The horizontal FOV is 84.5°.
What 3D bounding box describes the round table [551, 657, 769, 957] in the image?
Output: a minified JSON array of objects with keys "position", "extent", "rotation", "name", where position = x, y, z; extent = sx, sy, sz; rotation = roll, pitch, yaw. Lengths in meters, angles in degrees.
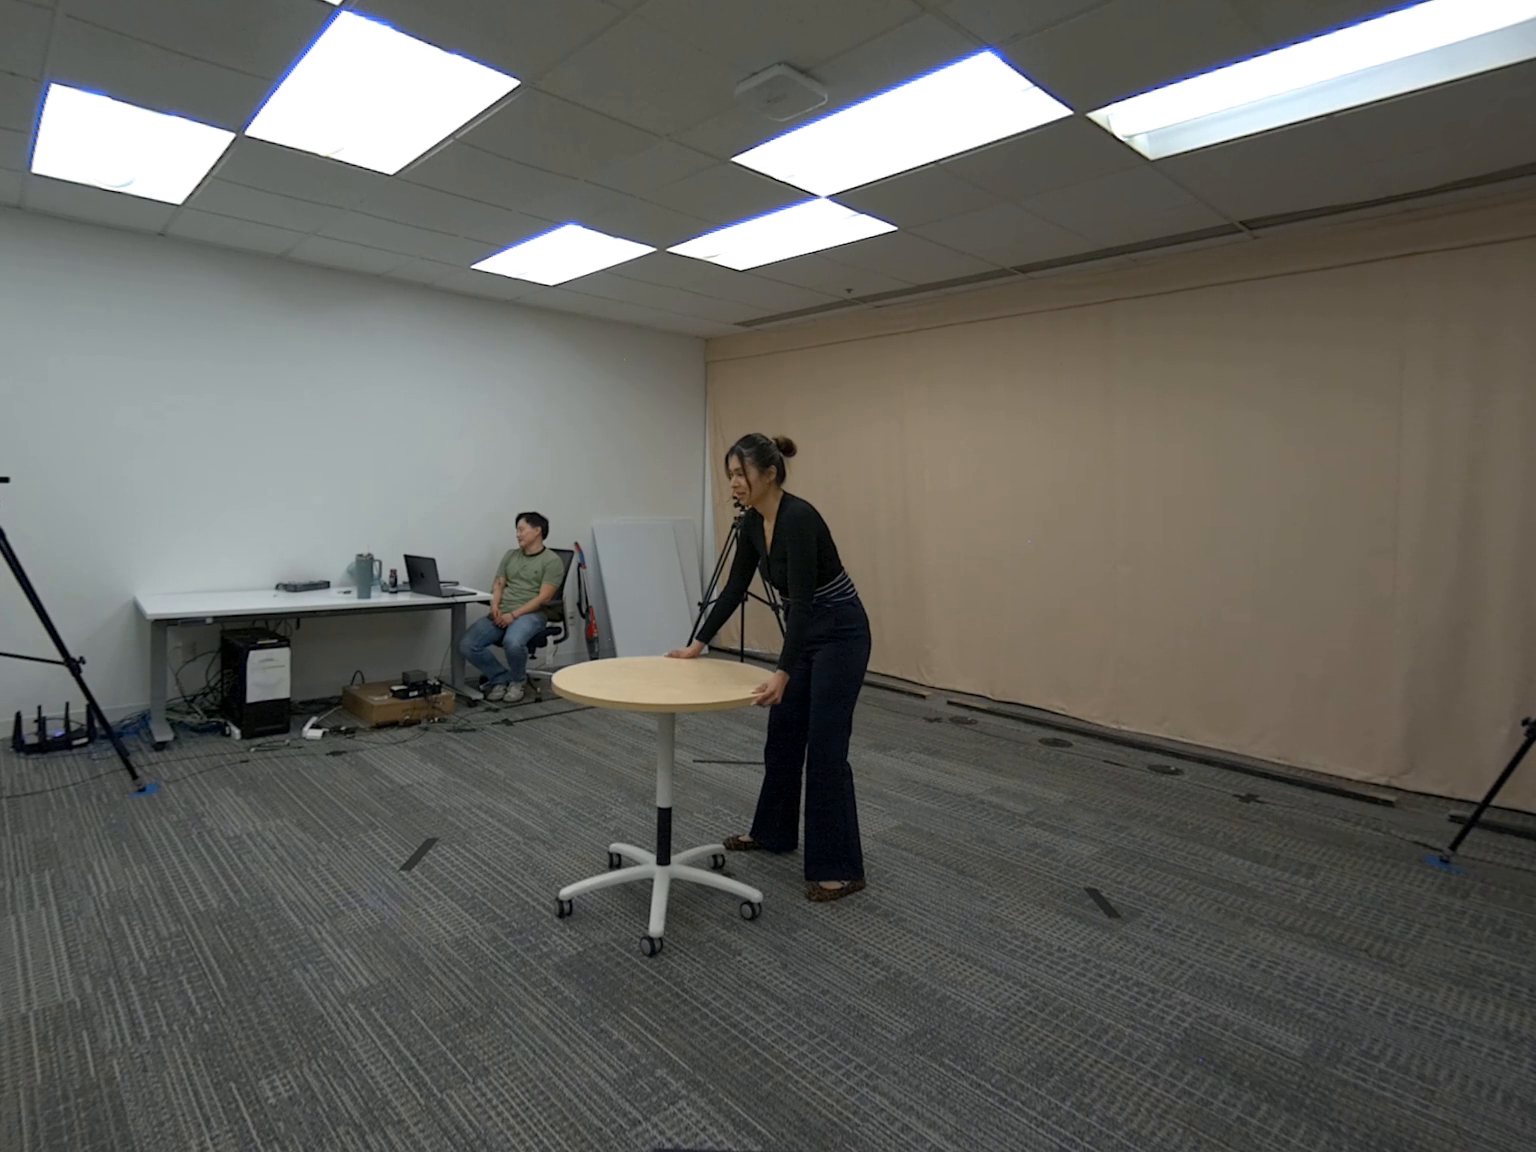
[{"position":[-0.351,0.732,2.853],"extent":[0.763,0.792,0.766],"rotation":[2,4,-1],"name":"round table"}]
